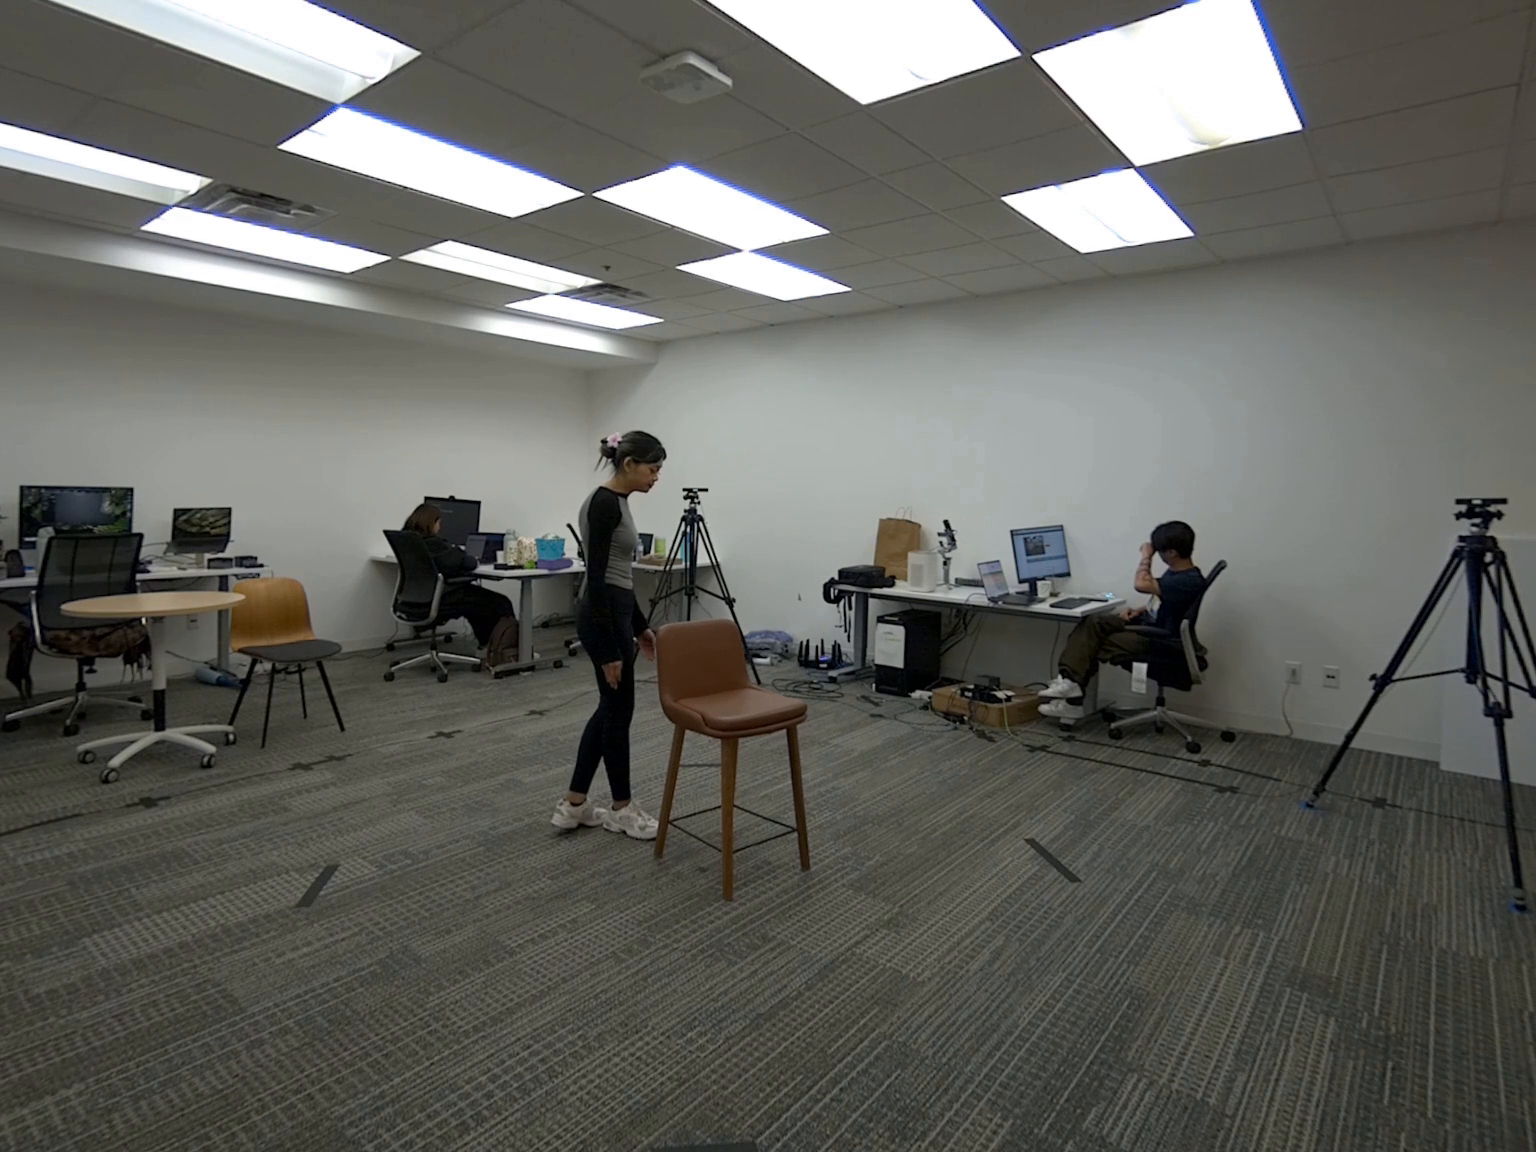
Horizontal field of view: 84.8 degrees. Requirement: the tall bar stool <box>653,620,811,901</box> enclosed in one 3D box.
[{"bbox_3d":[-0.148,0.628,3.146,0.442,0.889,0.483,-2,2,-42],"label":"tall bar stool"}]
